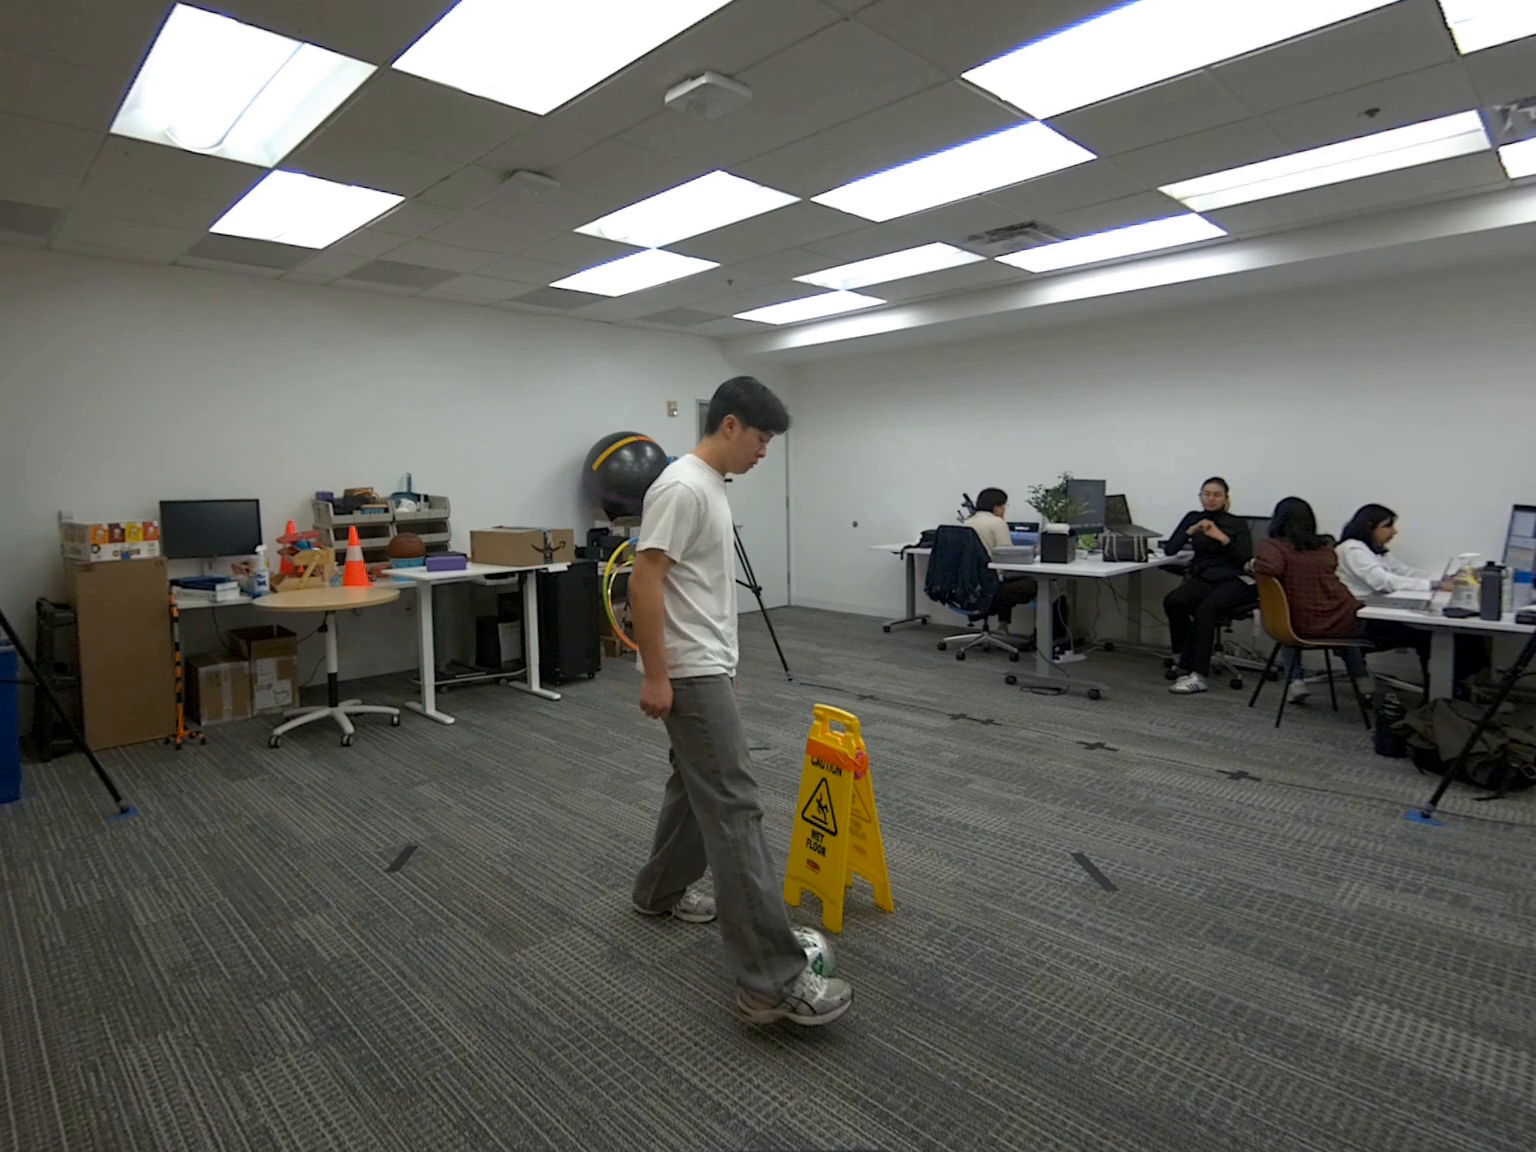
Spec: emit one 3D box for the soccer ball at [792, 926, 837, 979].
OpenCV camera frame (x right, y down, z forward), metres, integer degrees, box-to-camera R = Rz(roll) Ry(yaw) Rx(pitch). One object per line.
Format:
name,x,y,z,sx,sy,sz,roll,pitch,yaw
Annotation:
soccer ball,0.100,1.047,2.314,0.187,0.187,0.188,-1,5,-2
